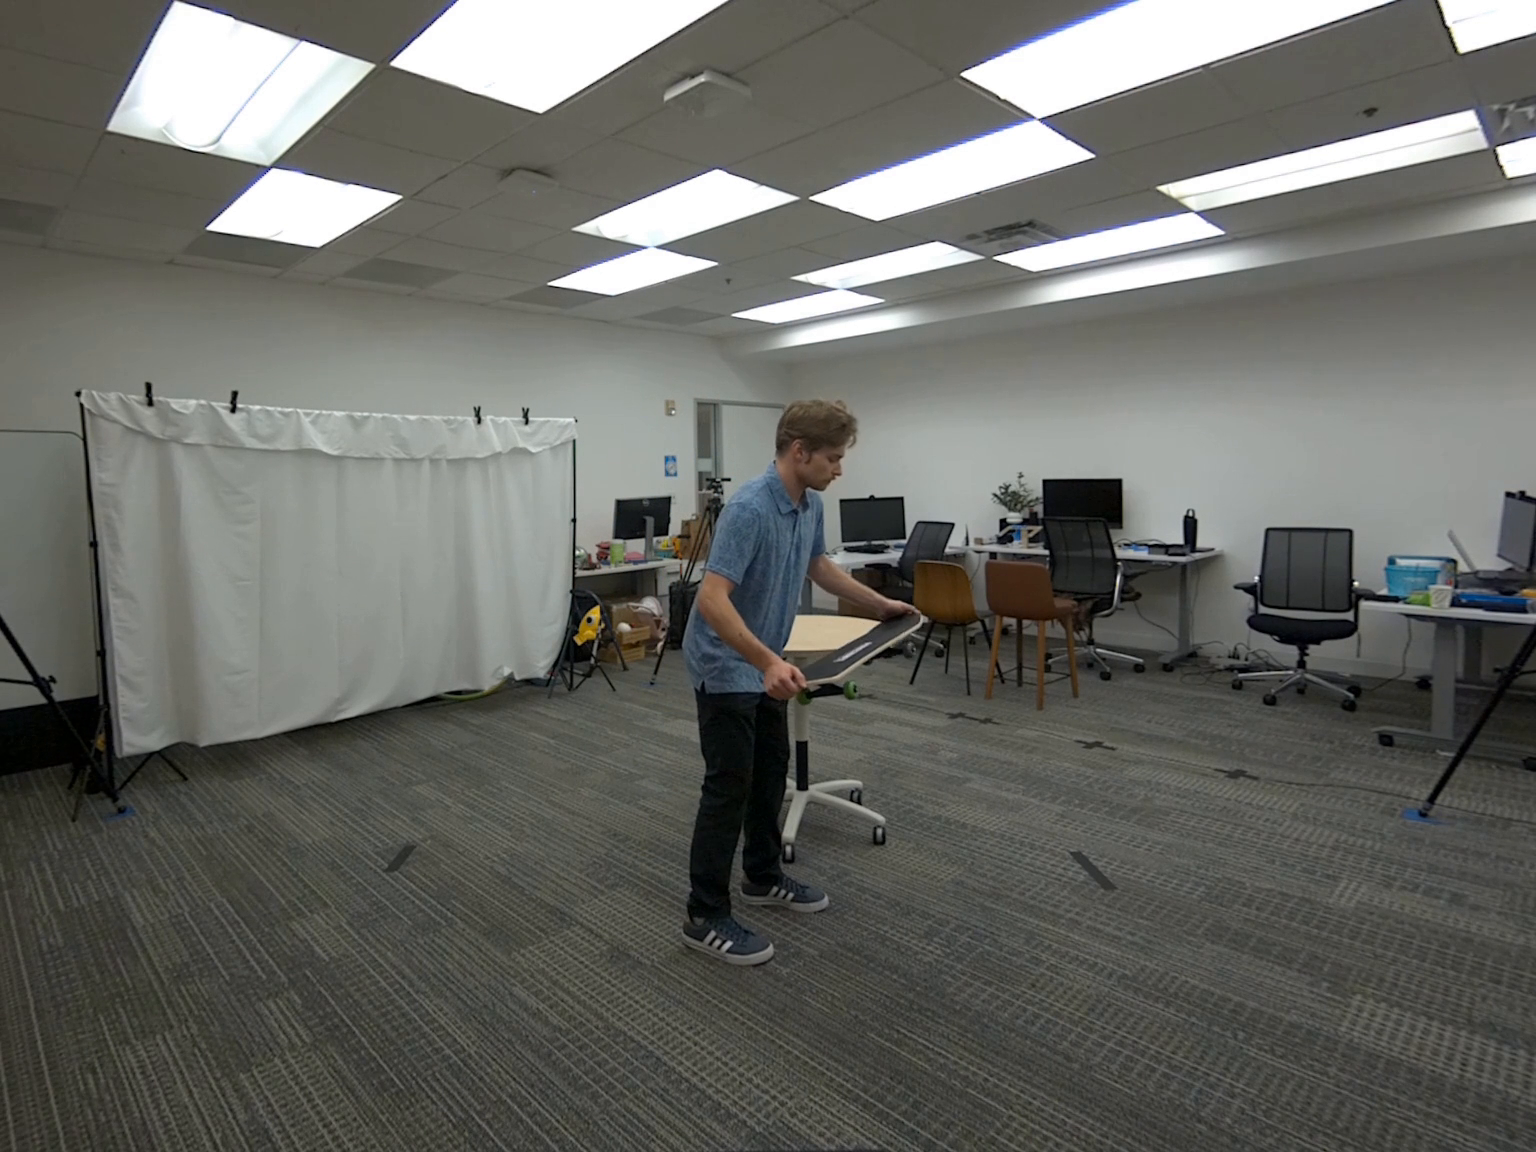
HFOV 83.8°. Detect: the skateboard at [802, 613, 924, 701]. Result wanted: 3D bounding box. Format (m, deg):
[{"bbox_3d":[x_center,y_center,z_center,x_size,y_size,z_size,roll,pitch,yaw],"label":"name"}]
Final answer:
[{"bbox_3d":[0.268,0.259,2.541,0.197,0.110,0.771,-14,4,35],"label":"skateboard"}]
